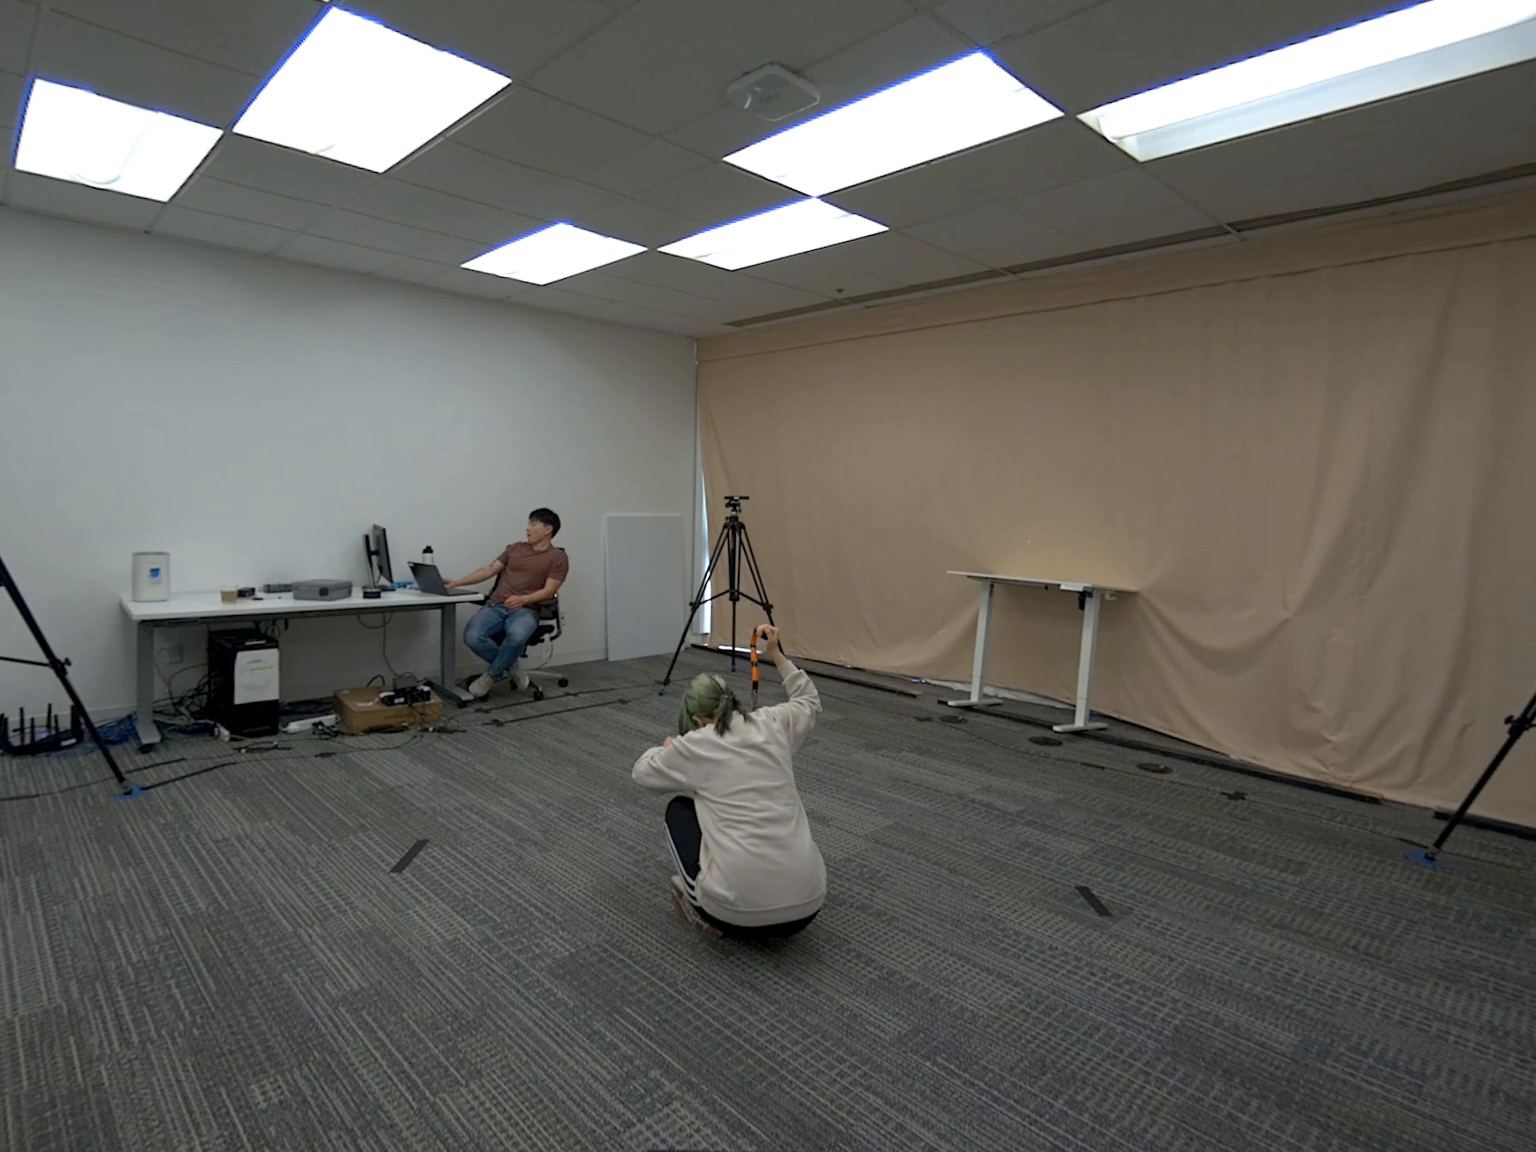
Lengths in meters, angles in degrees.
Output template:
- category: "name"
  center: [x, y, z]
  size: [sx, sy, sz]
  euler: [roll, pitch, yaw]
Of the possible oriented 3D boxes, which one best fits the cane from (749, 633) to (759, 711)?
- category: "cane"
  center: [-0.049, 0.649, 3.142]
  size: [0.150, 0.906, 0.209]
  euler: [4, 3, -13]
